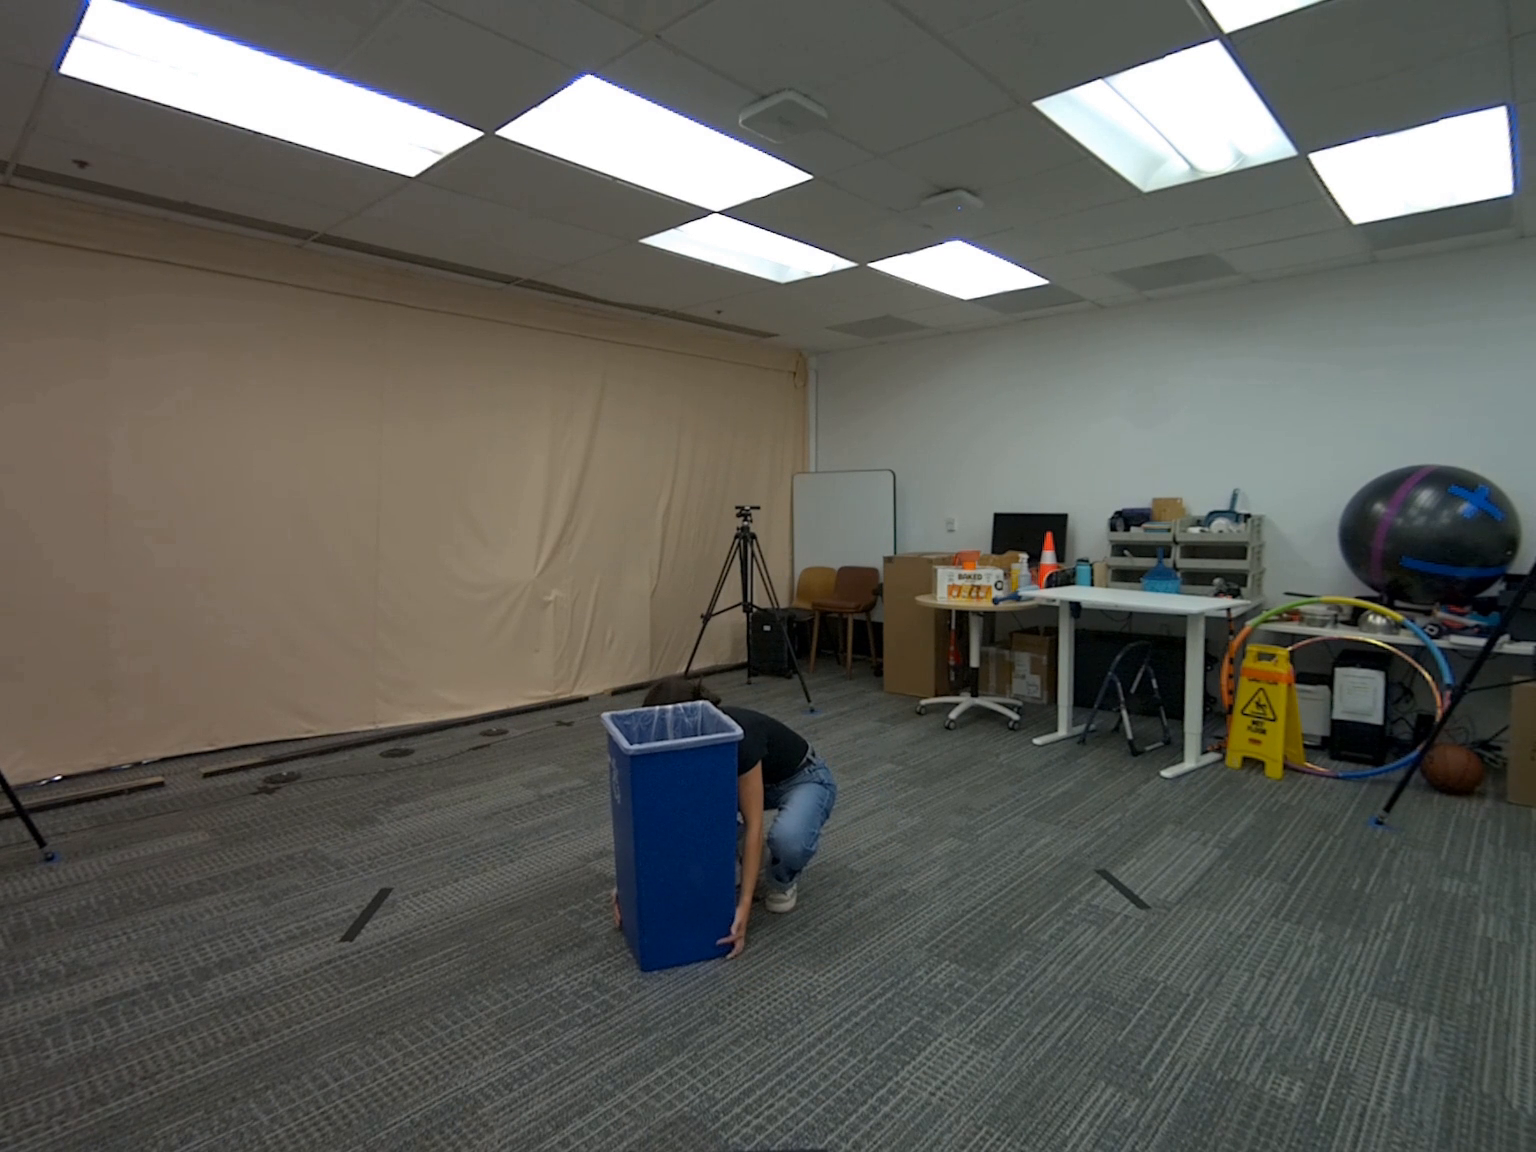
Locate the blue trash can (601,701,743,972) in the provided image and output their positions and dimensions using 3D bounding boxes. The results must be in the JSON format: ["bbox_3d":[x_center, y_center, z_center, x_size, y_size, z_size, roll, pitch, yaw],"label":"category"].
[{"bbox_3d":[-0.303,0.805,2.654,0.370,0.711,0.383,-3,6,-21],"label":"blue trash can"}]
